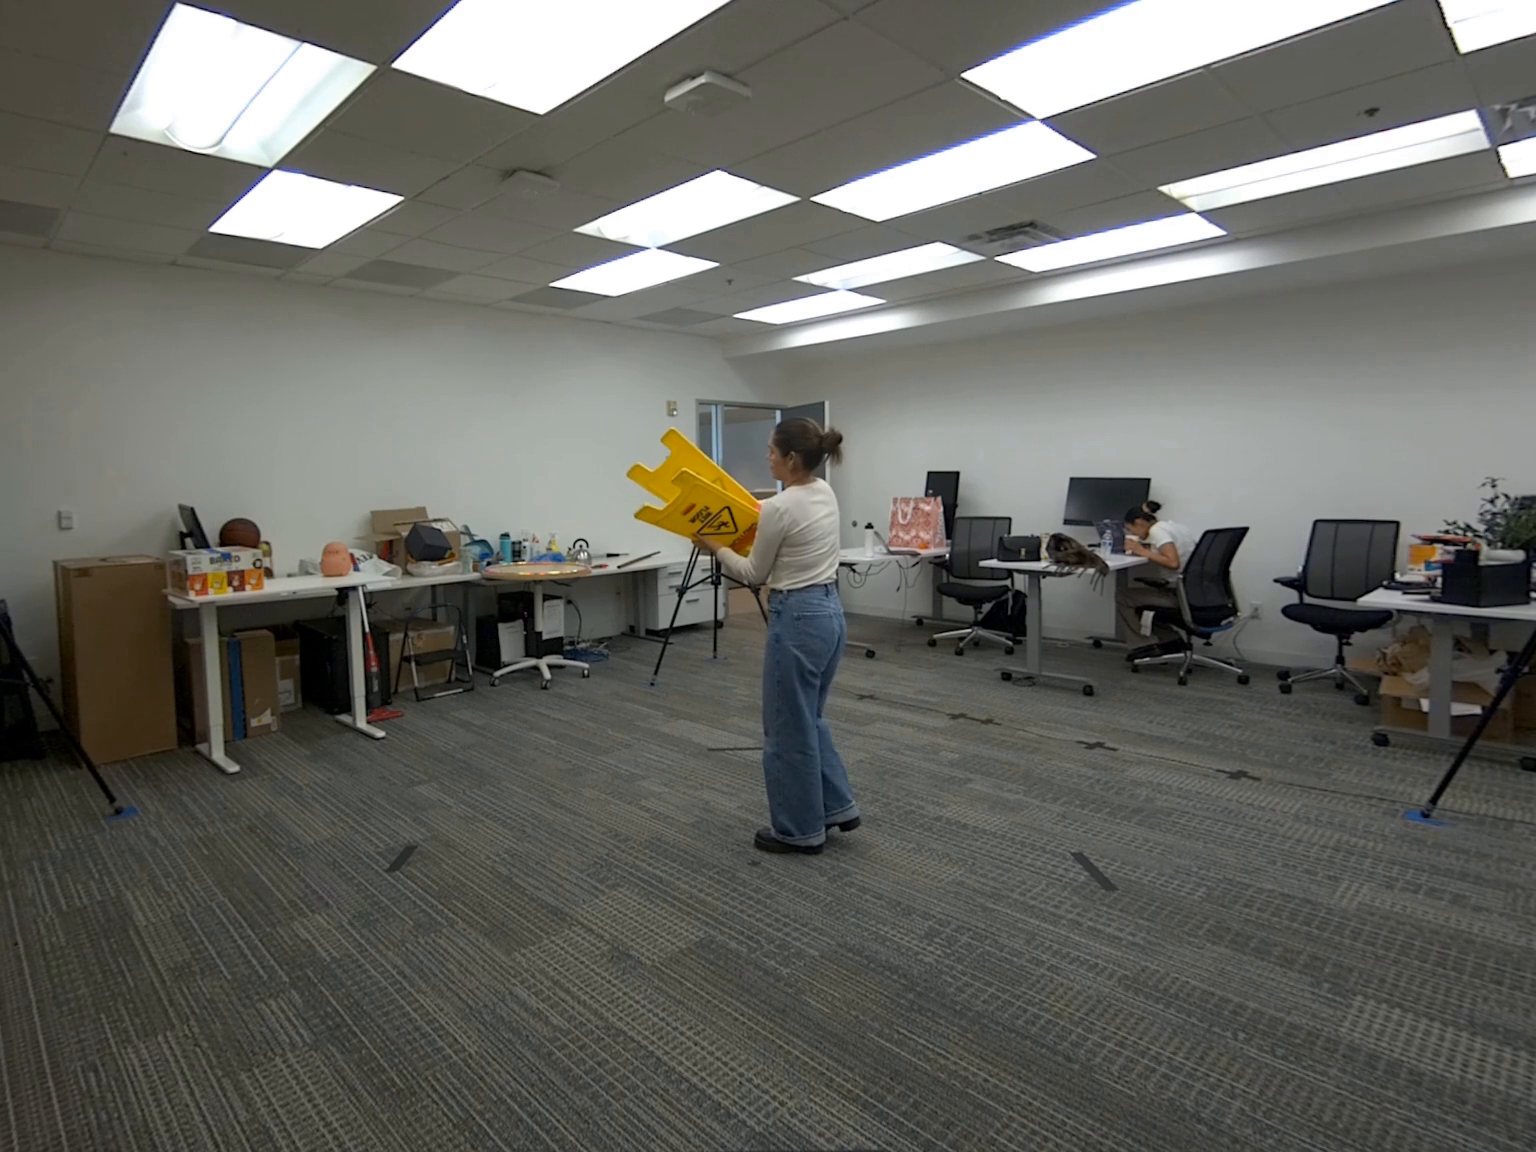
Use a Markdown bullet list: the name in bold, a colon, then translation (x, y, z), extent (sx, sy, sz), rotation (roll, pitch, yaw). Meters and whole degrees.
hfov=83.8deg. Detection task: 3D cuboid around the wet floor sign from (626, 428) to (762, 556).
- **wet floor sign**: translation (-0.200, -0.252, 3.347), extent (0.623, 0.300, 0.283), rotation (31, -62, -35)
